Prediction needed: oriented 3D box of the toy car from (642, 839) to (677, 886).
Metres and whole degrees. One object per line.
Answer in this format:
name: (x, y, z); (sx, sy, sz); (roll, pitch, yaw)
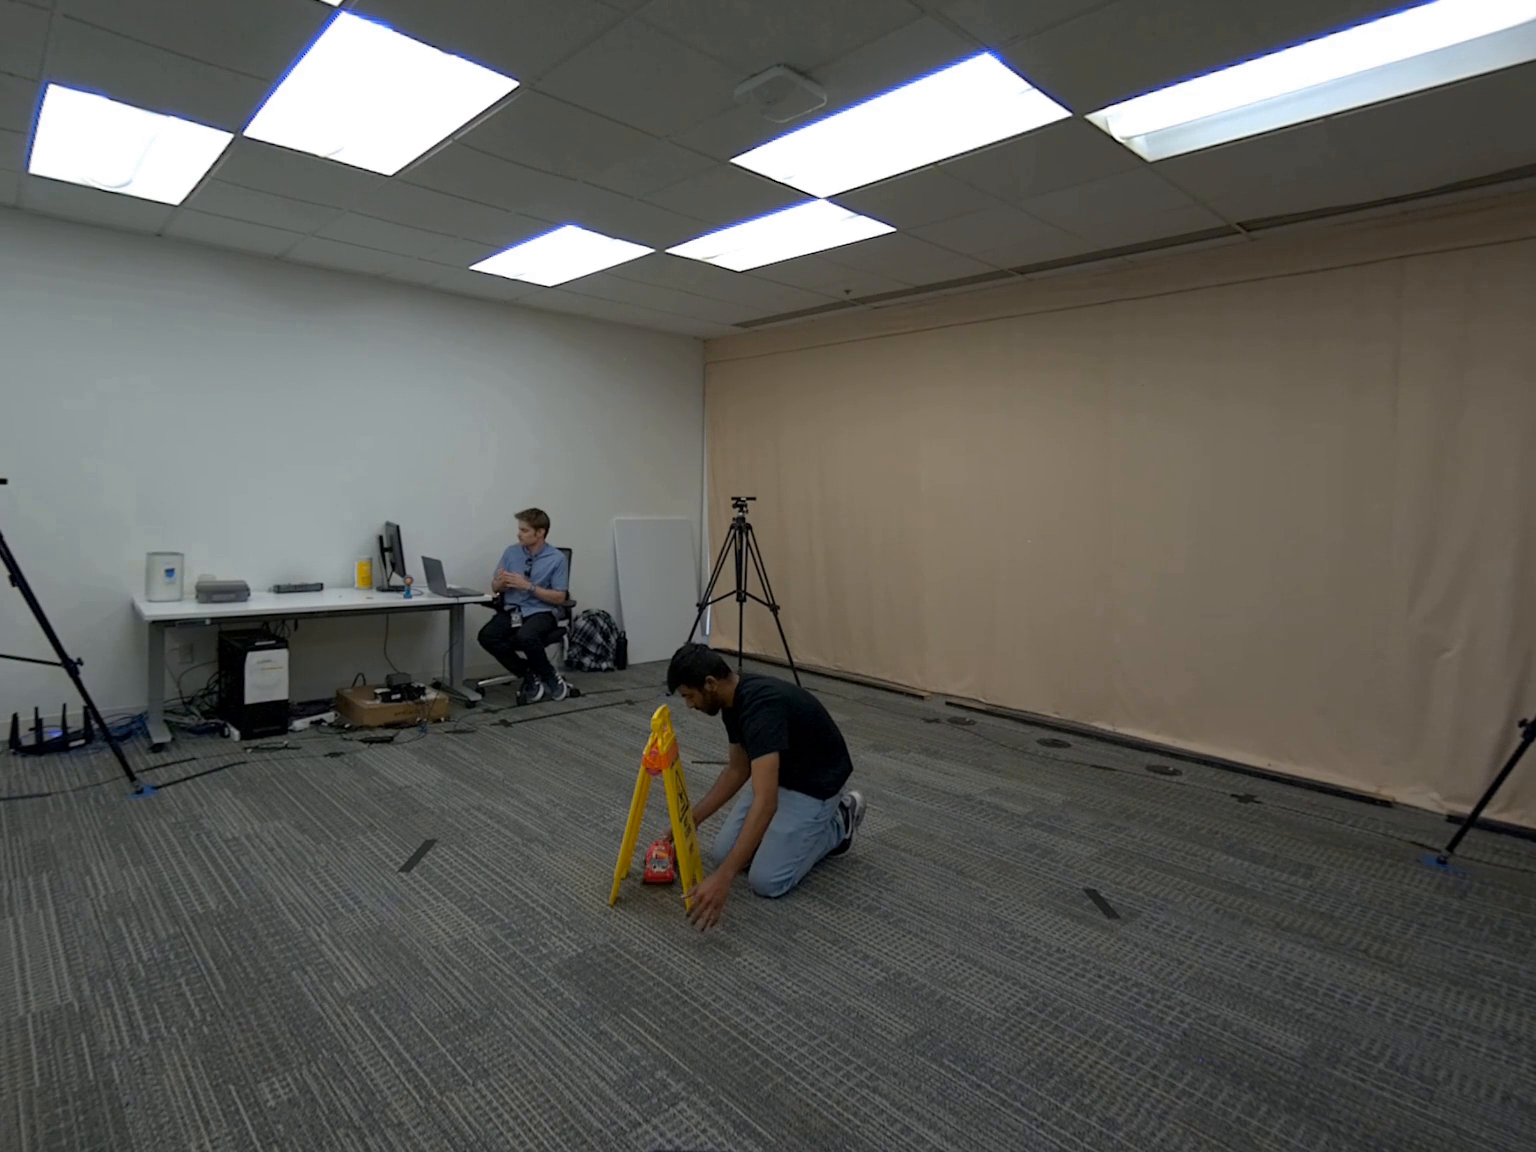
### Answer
toy car: (-0.406, 1.061, 3.117); (0.130, 0.082, 0.258); (-2, 14, -6)
